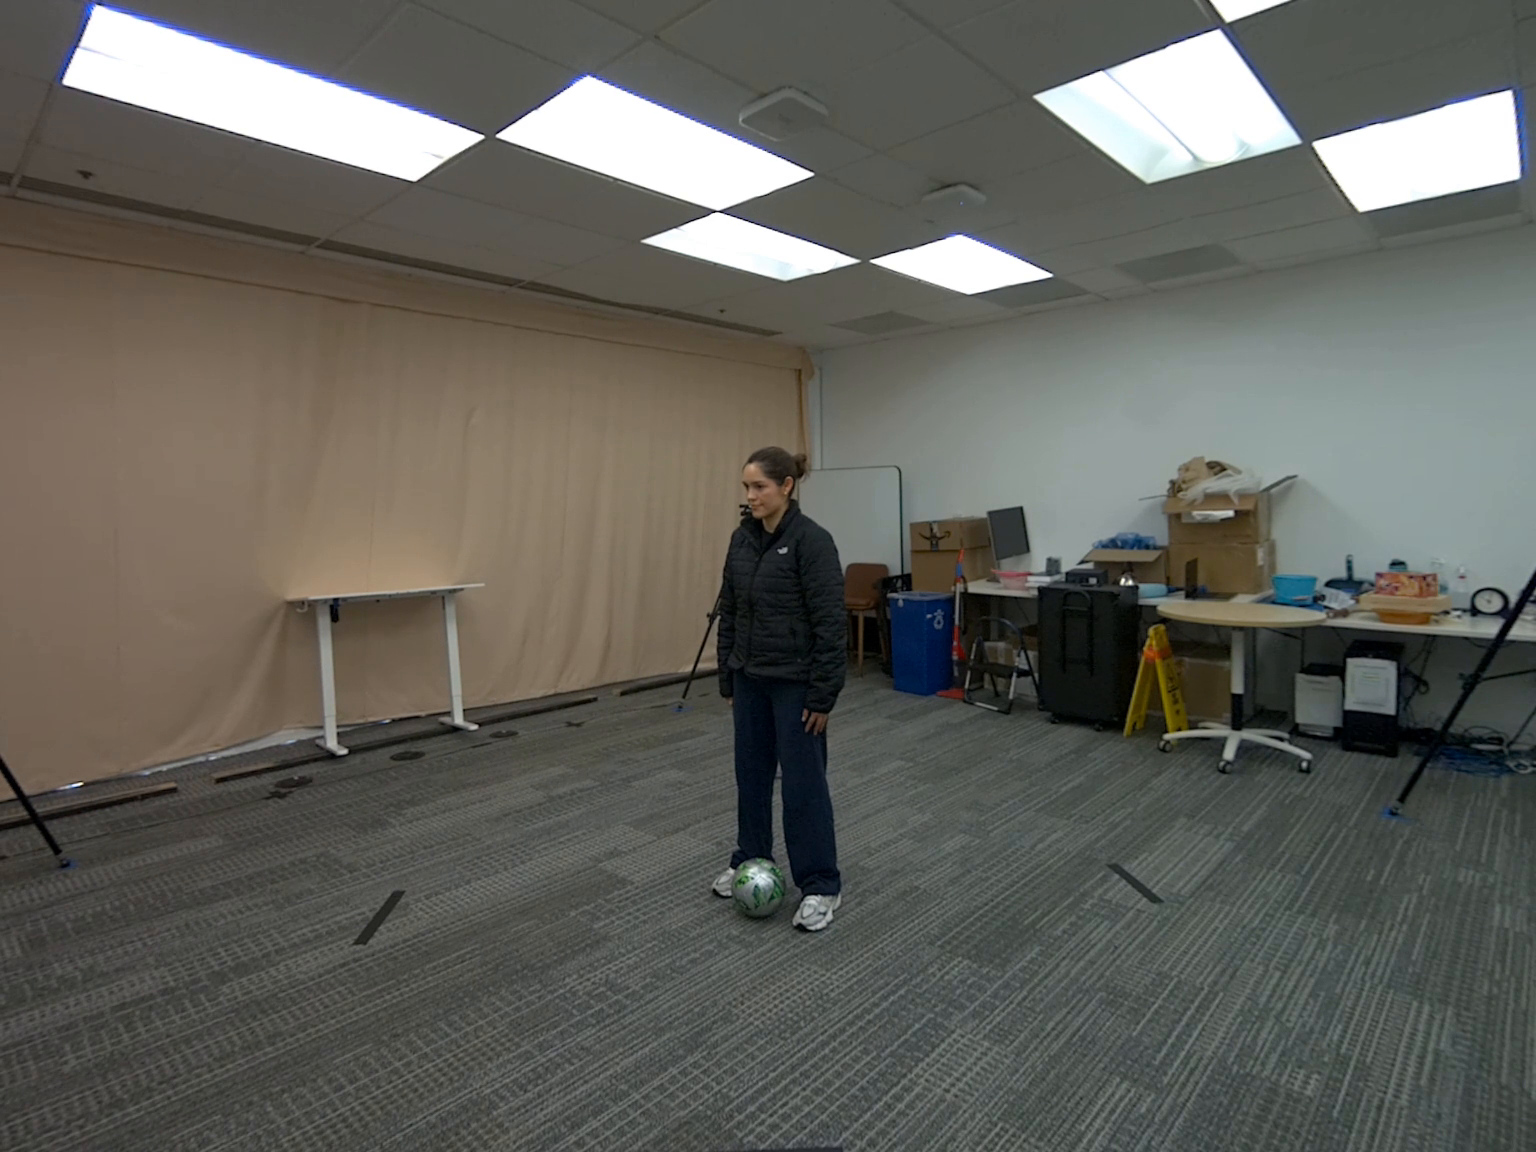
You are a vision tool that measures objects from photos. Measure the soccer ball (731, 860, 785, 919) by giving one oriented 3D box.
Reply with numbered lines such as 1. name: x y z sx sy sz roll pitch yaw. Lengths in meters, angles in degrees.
1. soccer ball: -0.029 1.052 2.867 0.187 0.187 0.188 -1 4 -2
